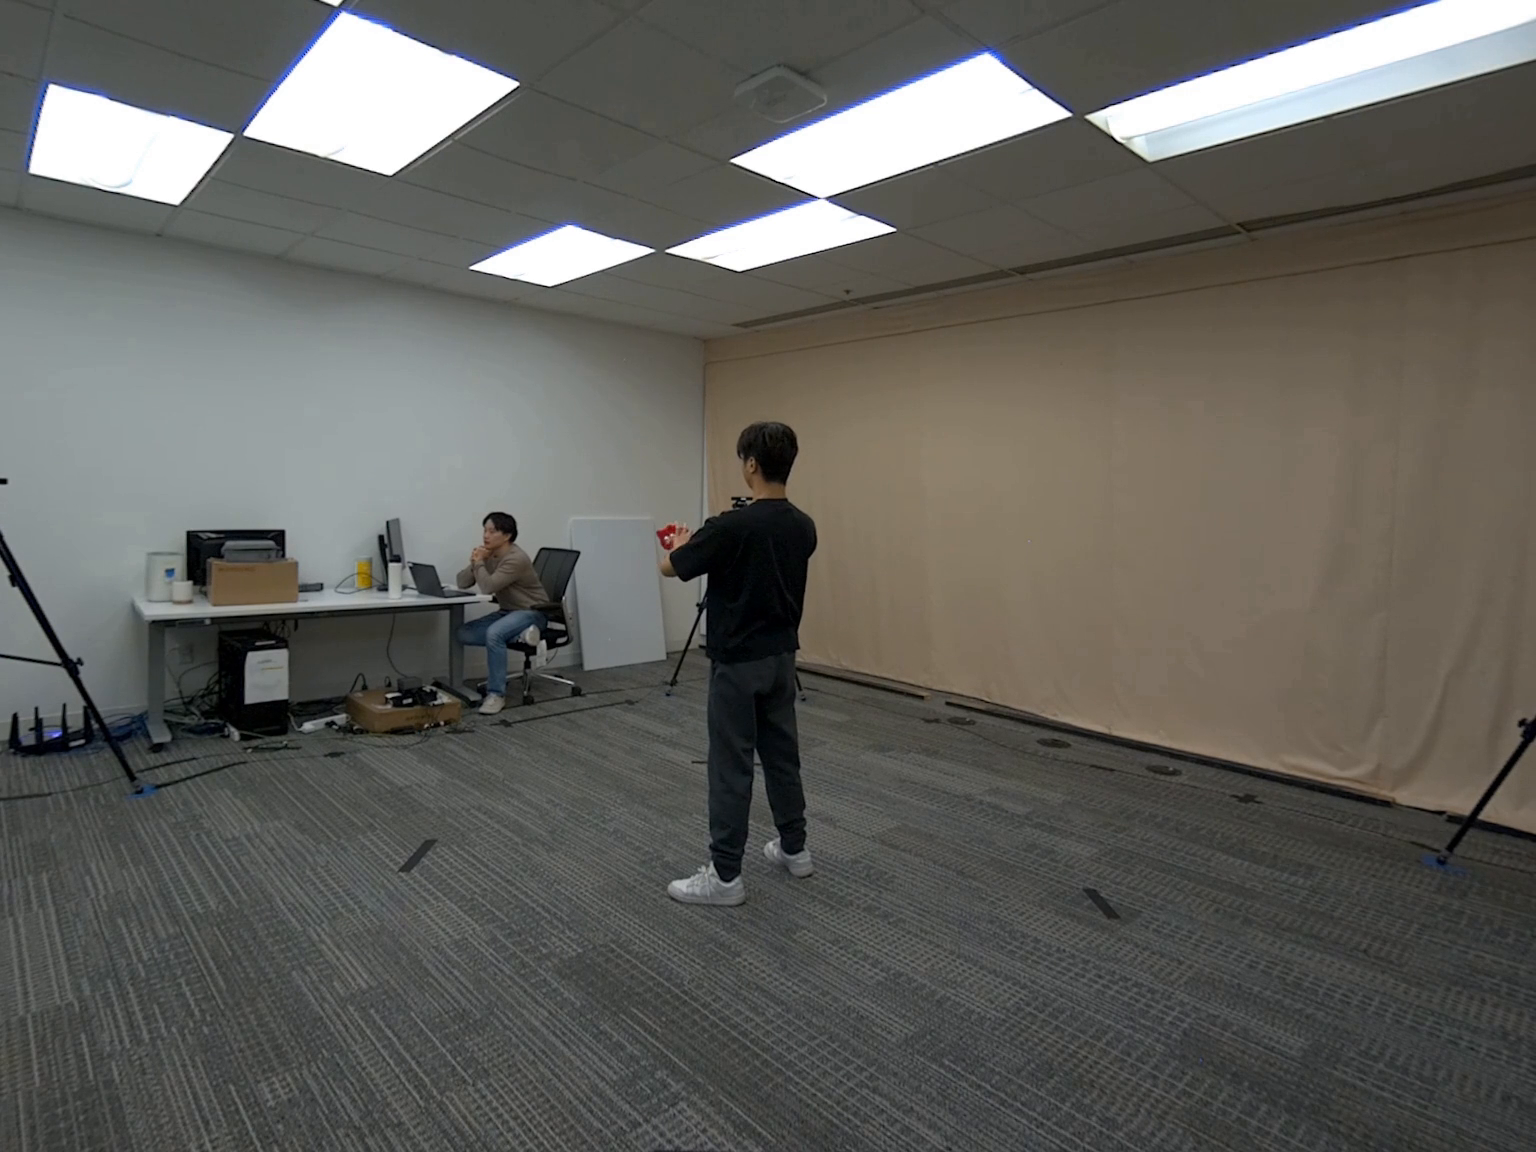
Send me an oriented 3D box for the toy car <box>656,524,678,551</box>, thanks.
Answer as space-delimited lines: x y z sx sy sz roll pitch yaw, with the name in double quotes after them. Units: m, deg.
-0.348 -0.106 3.330 0.131 0.085 0.247 -26 -51 21 "toy car"
